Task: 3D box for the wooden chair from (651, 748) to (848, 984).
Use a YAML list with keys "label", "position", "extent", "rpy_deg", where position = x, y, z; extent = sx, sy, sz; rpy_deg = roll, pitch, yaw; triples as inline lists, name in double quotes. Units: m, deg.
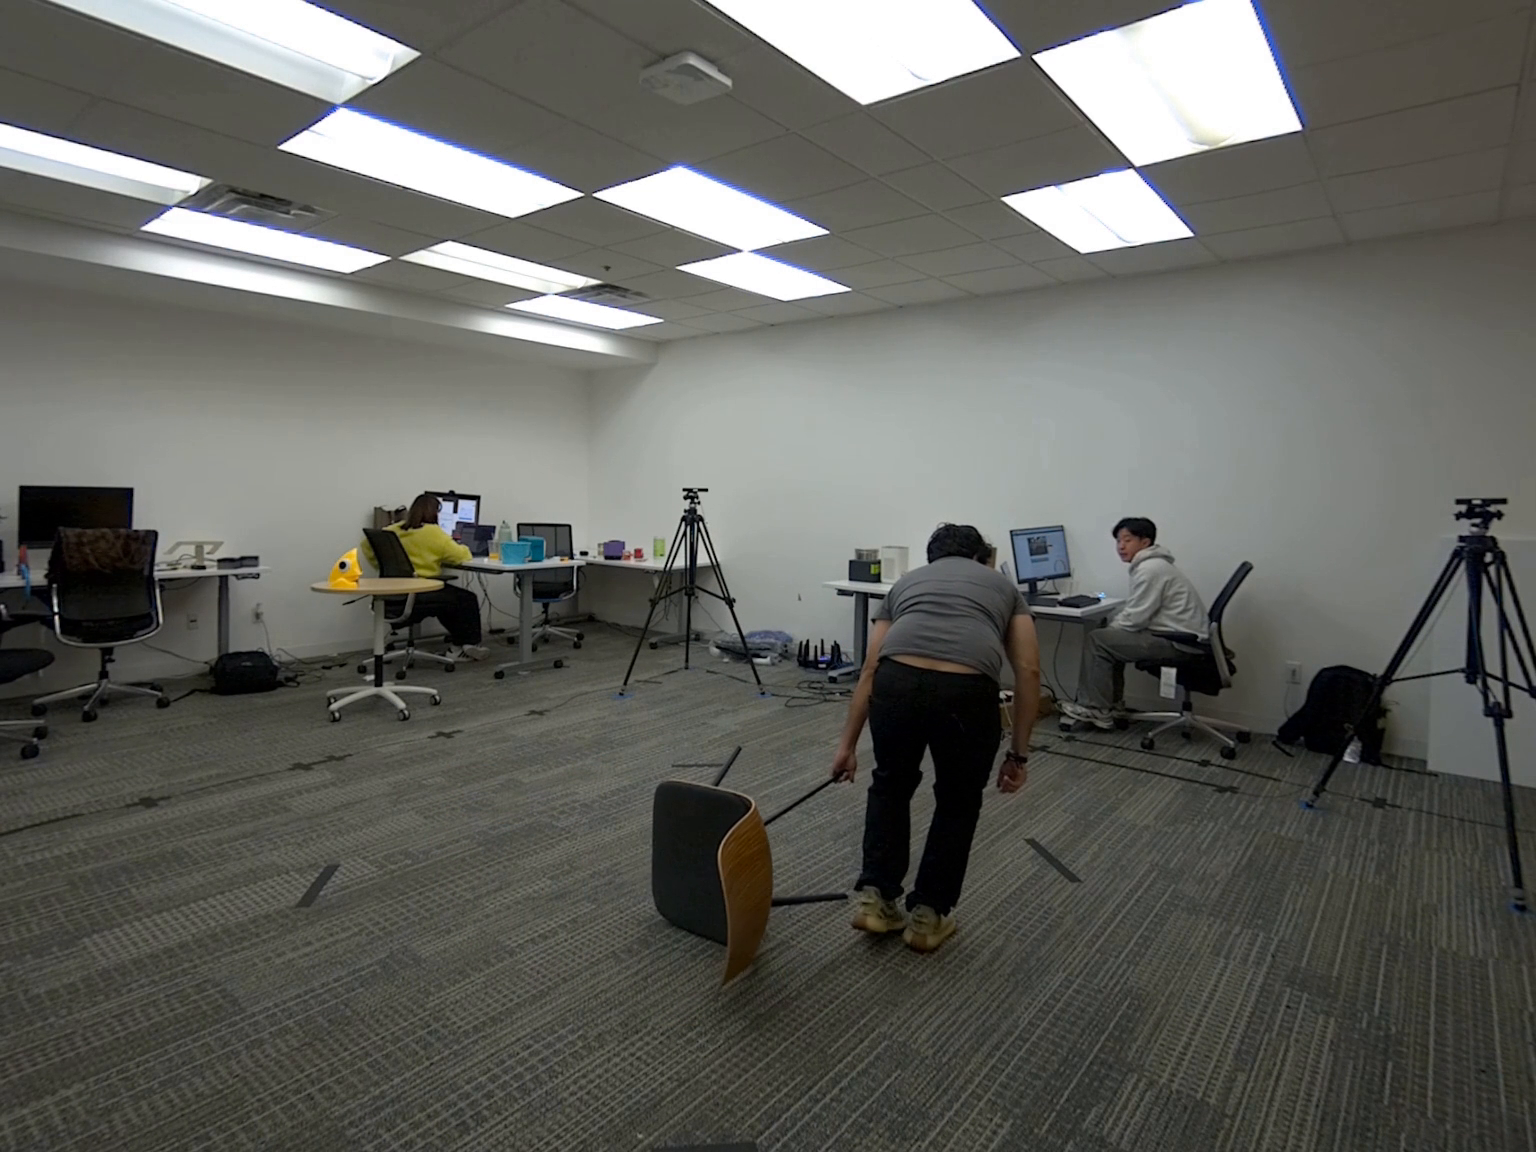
- label: "wooden chair"
  position: [-0.149, 0.884, 2.656]
  extent: [0.537, 0.476, 0.857]
  rpy_deg: [3, 5, 26]
